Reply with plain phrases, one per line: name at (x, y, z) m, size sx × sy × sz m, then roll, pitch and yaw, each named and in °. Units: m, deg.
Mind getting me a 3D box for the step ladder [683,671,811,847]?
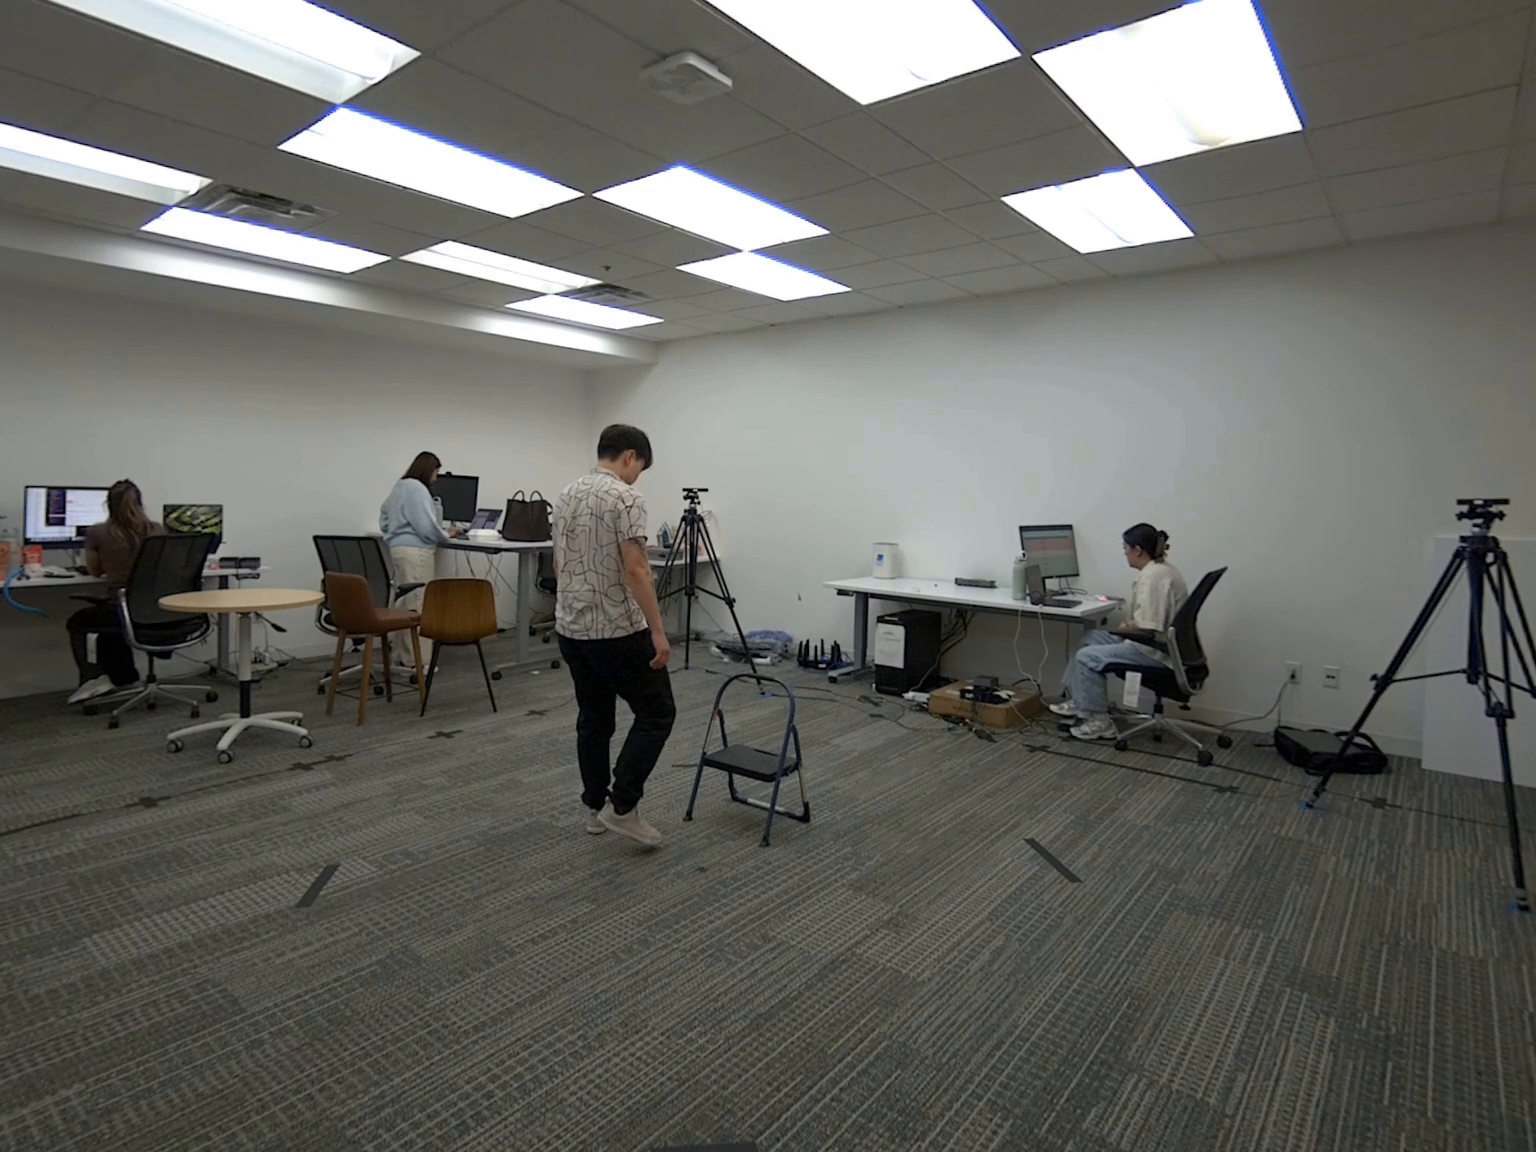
step ladder at (-0.087, 0.728, 3.562) m, size 0.445 × 0.604 × 0.339 m, roll 4°, pitch 4°, yaw 36°
